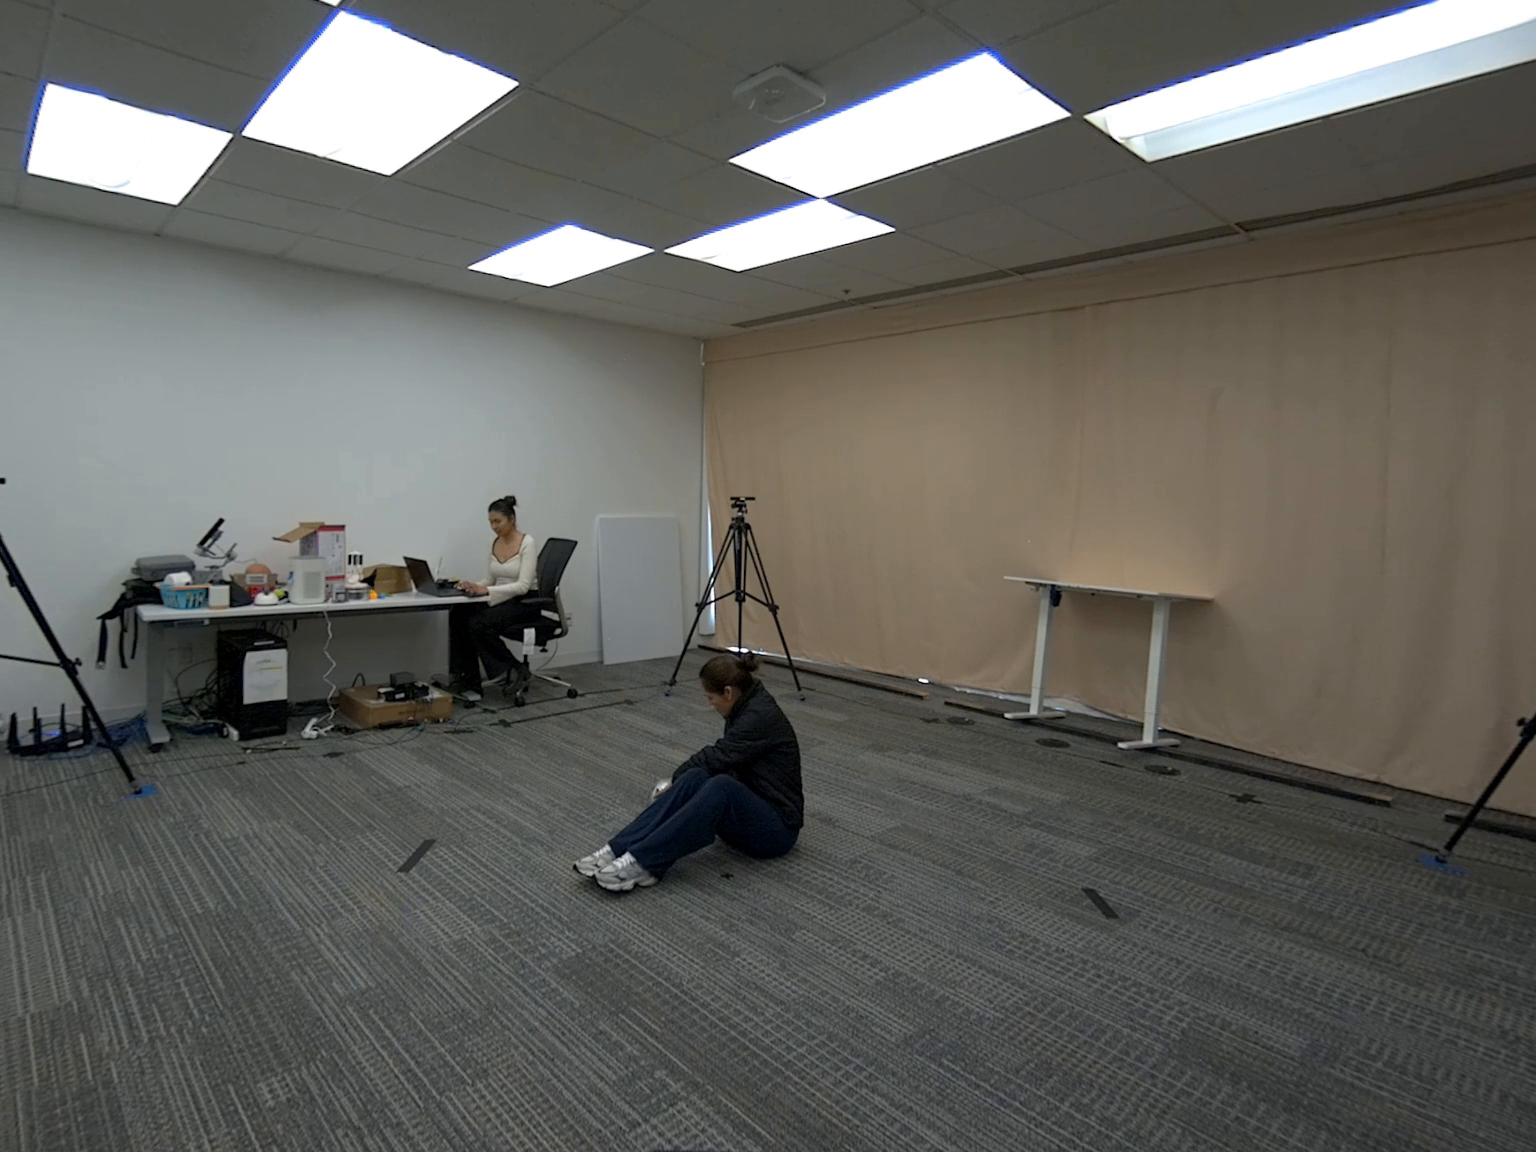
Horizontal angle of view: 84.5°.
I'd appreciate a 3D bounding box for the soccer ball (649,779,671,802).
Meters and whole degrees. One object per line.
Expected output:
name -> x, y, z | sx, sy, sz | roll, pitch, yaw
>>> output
soccer ball -> -0.413, 0.954, 3.596 | 0.187, 0.186, 0.188 | 0, 7, -1
